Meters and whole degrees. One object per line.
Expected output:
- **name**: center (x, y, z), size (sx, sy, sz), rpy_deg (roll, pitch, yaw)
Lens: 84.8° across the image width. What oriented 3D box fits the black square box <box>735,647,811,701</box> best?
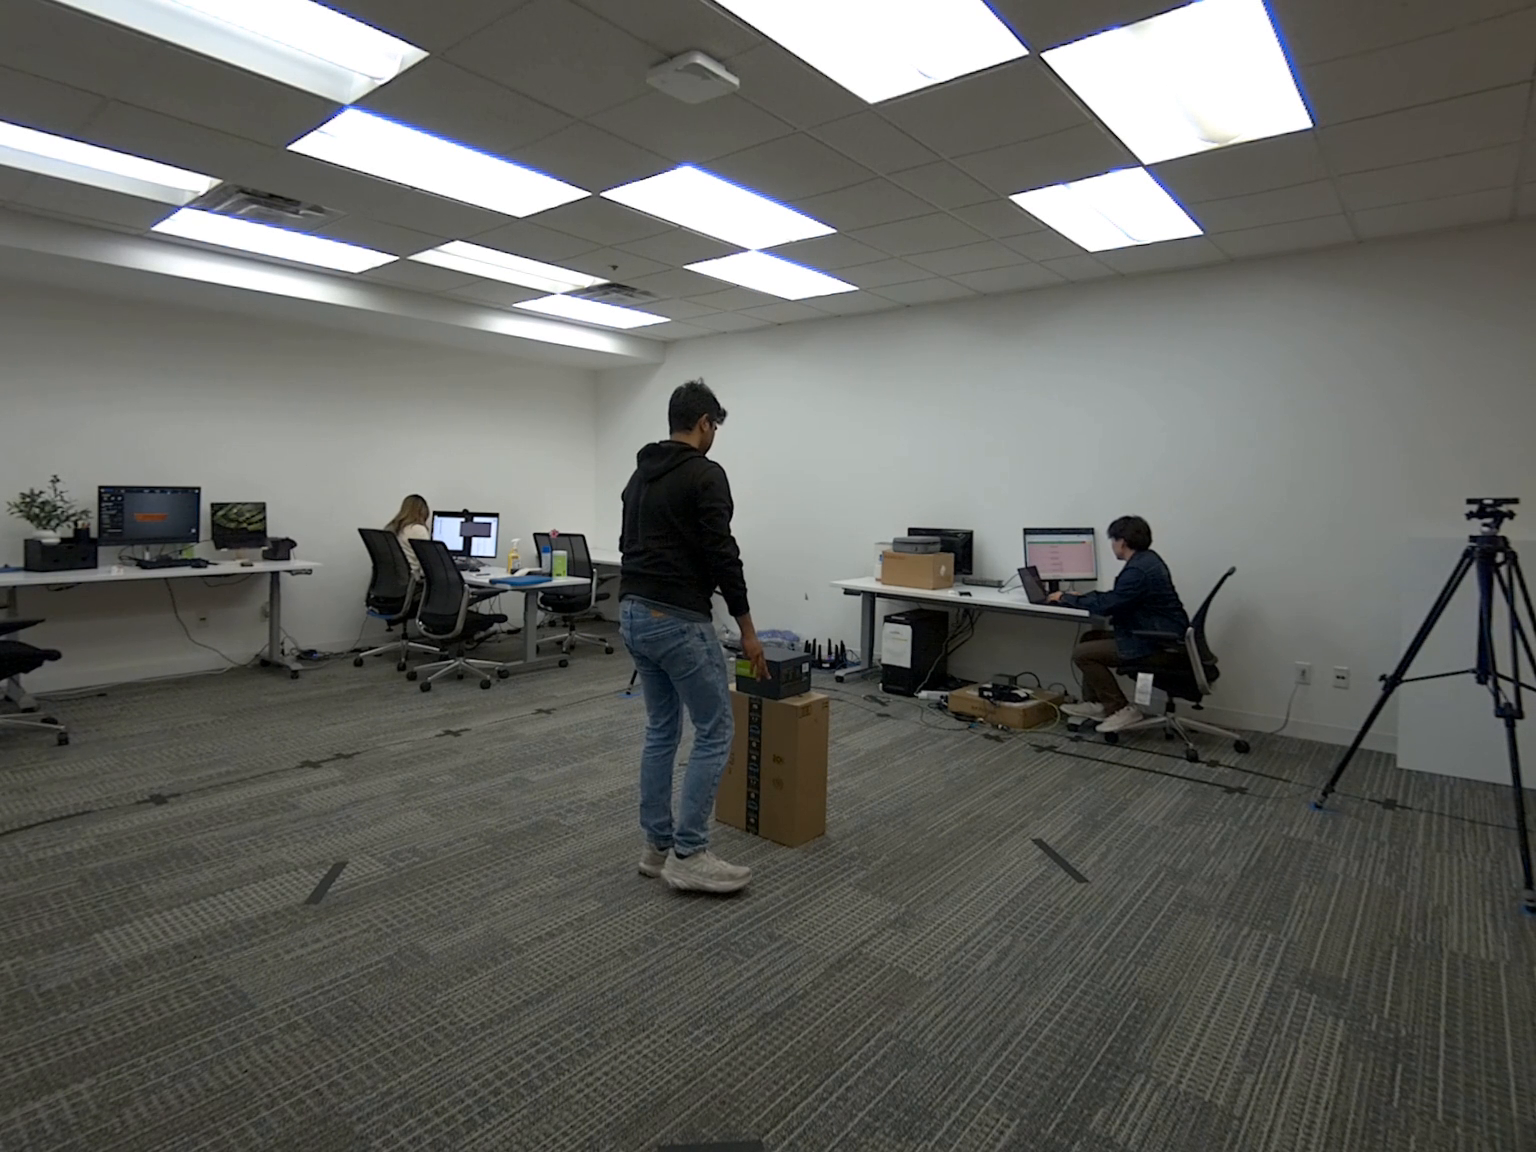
- **black square box**: center (0.015, 0.389, 3.478), size (0.235, 0.155, 0.211), rpy_deg (5, 7, 40)
